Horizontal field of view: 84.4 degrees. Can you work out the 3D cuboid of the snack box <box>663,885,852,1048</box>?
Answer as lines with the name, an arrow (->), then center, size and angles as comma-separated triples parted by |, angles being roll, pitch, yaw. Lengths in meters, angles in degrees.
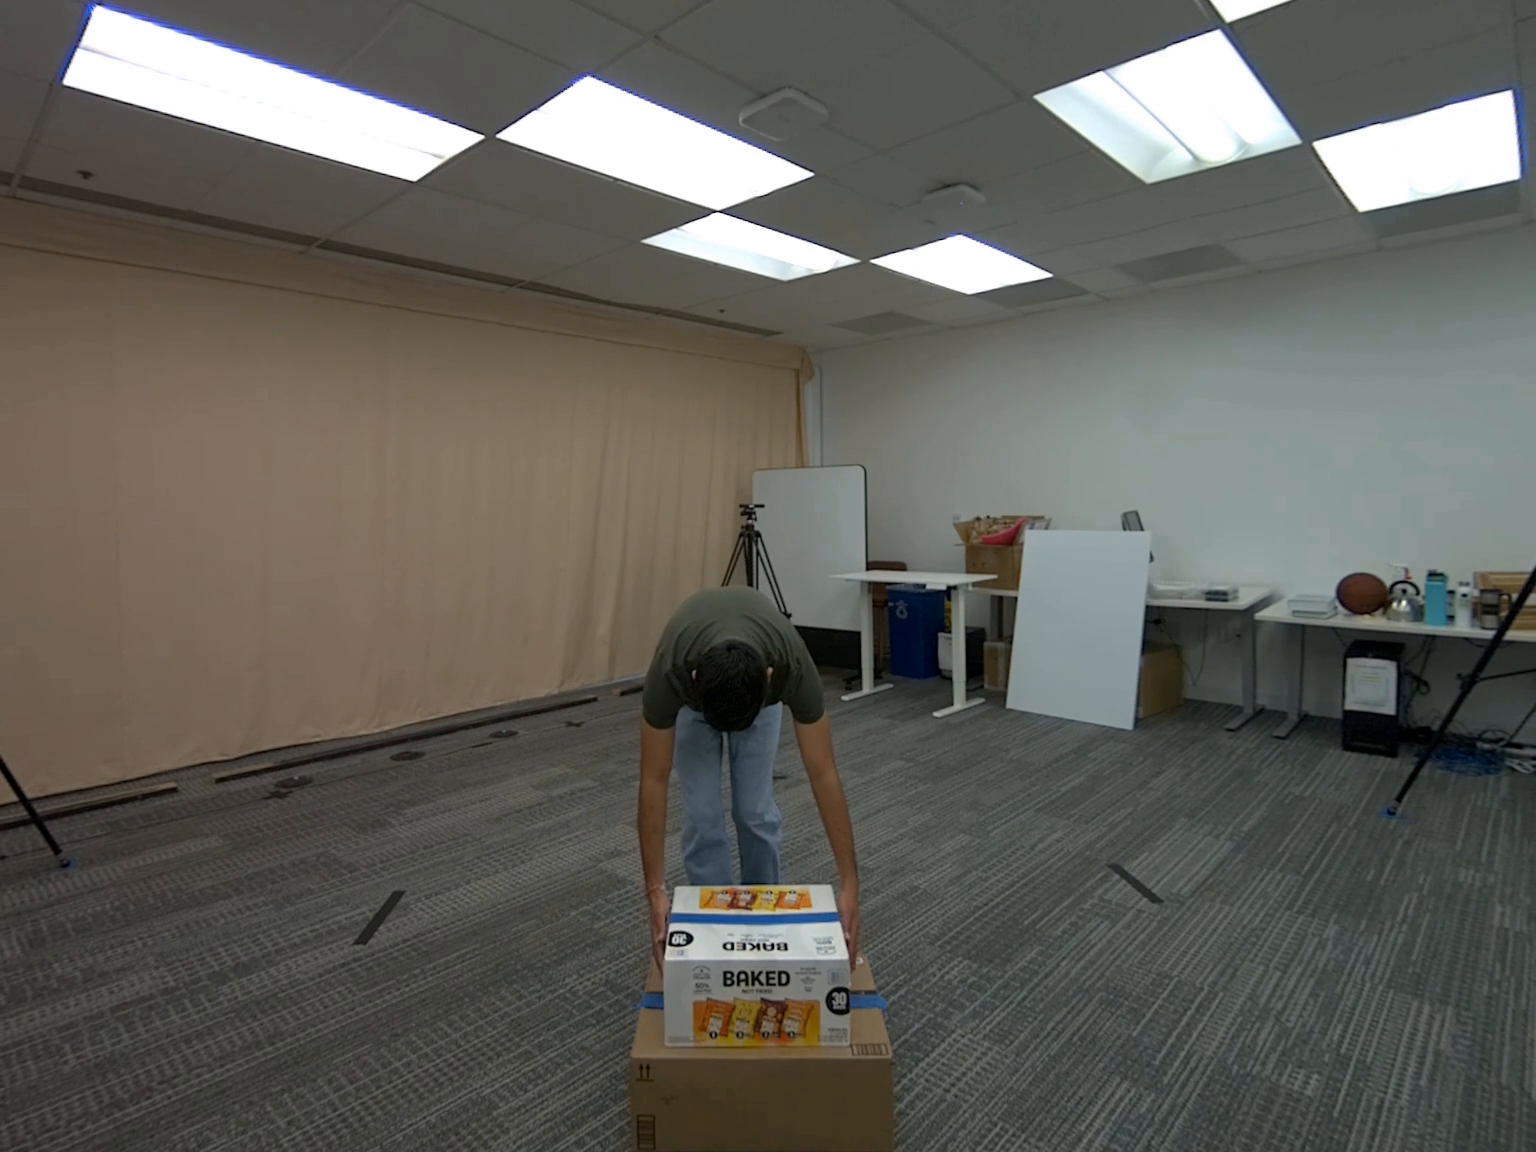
snack box -> -0.020, 0.908, 1.985 | 0.405, 0.205, 0.341 | -1, 5, -1
